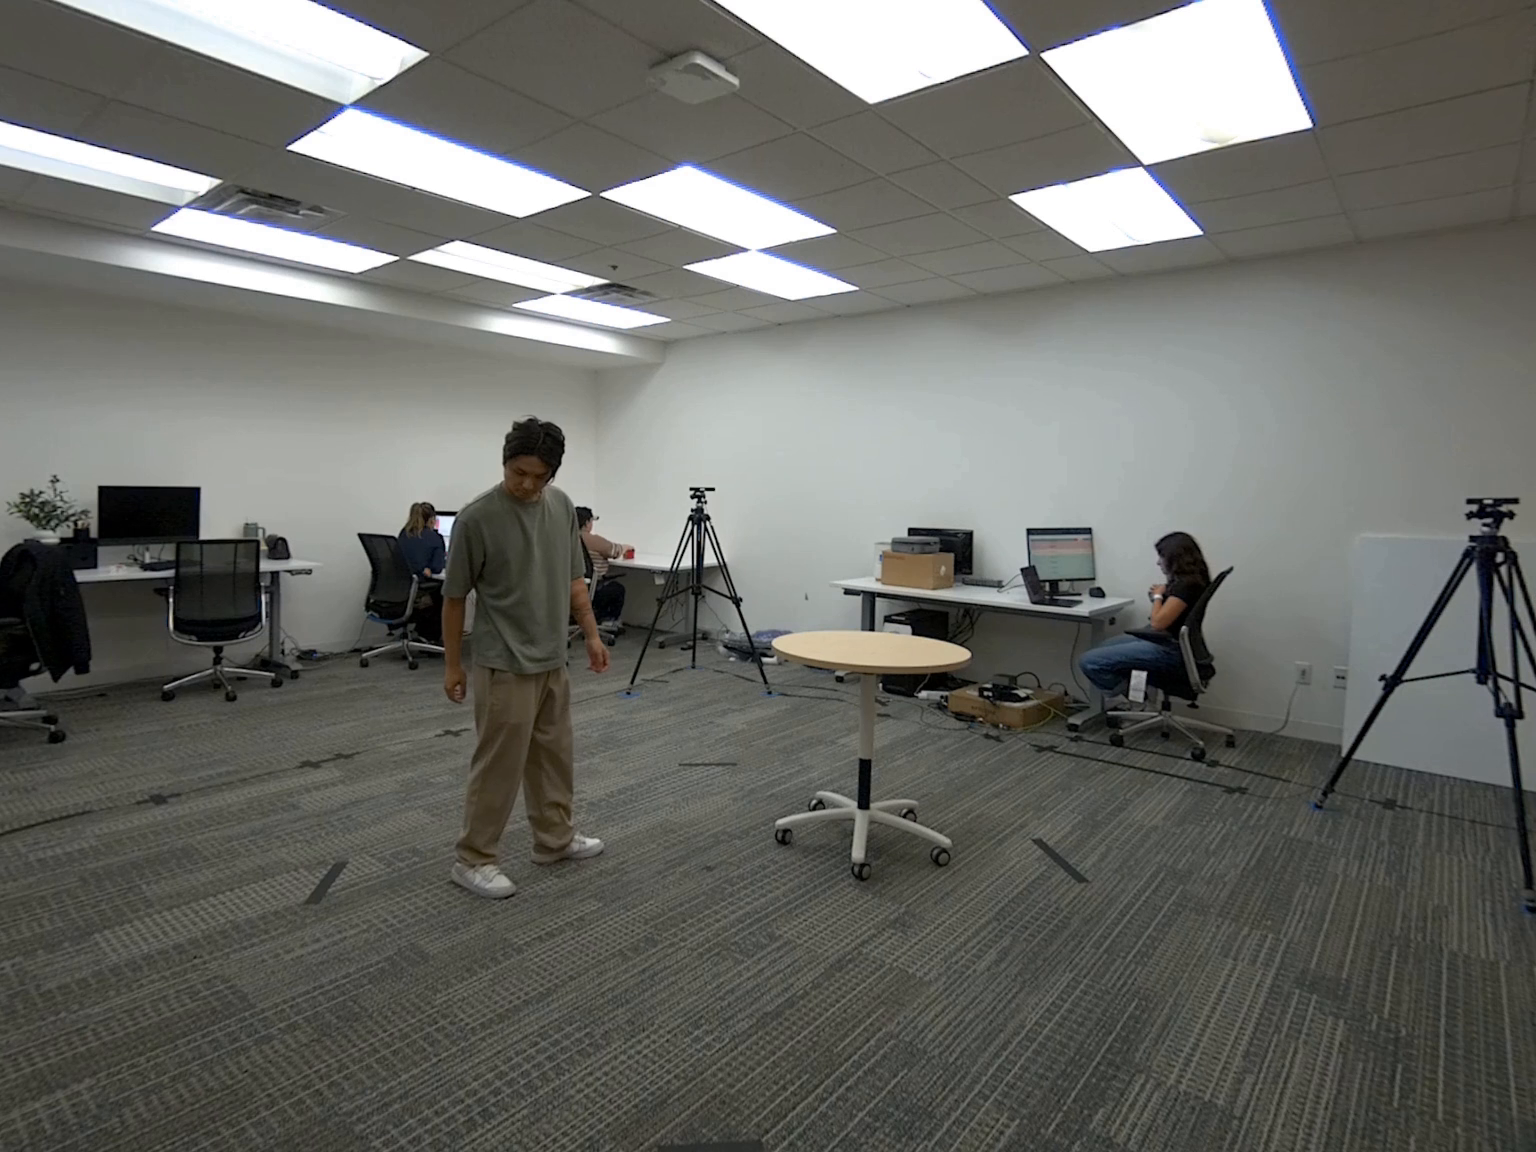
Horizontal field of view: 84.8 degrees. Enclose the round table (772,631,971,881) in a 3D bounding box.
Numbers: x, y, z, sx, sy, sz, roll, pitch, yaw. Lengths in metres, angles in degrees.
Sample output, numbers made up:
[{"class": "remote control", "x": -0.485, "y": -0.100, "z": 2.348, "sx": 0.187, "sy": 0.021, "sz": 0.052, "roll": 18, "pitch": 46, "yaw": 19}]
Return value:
[{"class": "round table", "x": 0.387, "y": 0.666, "z": 3.339, "sx": 0.784, "sy": 0.784, "sz": 0.789, "roll": 1, "pitch": 4, "yaw": -2}]
